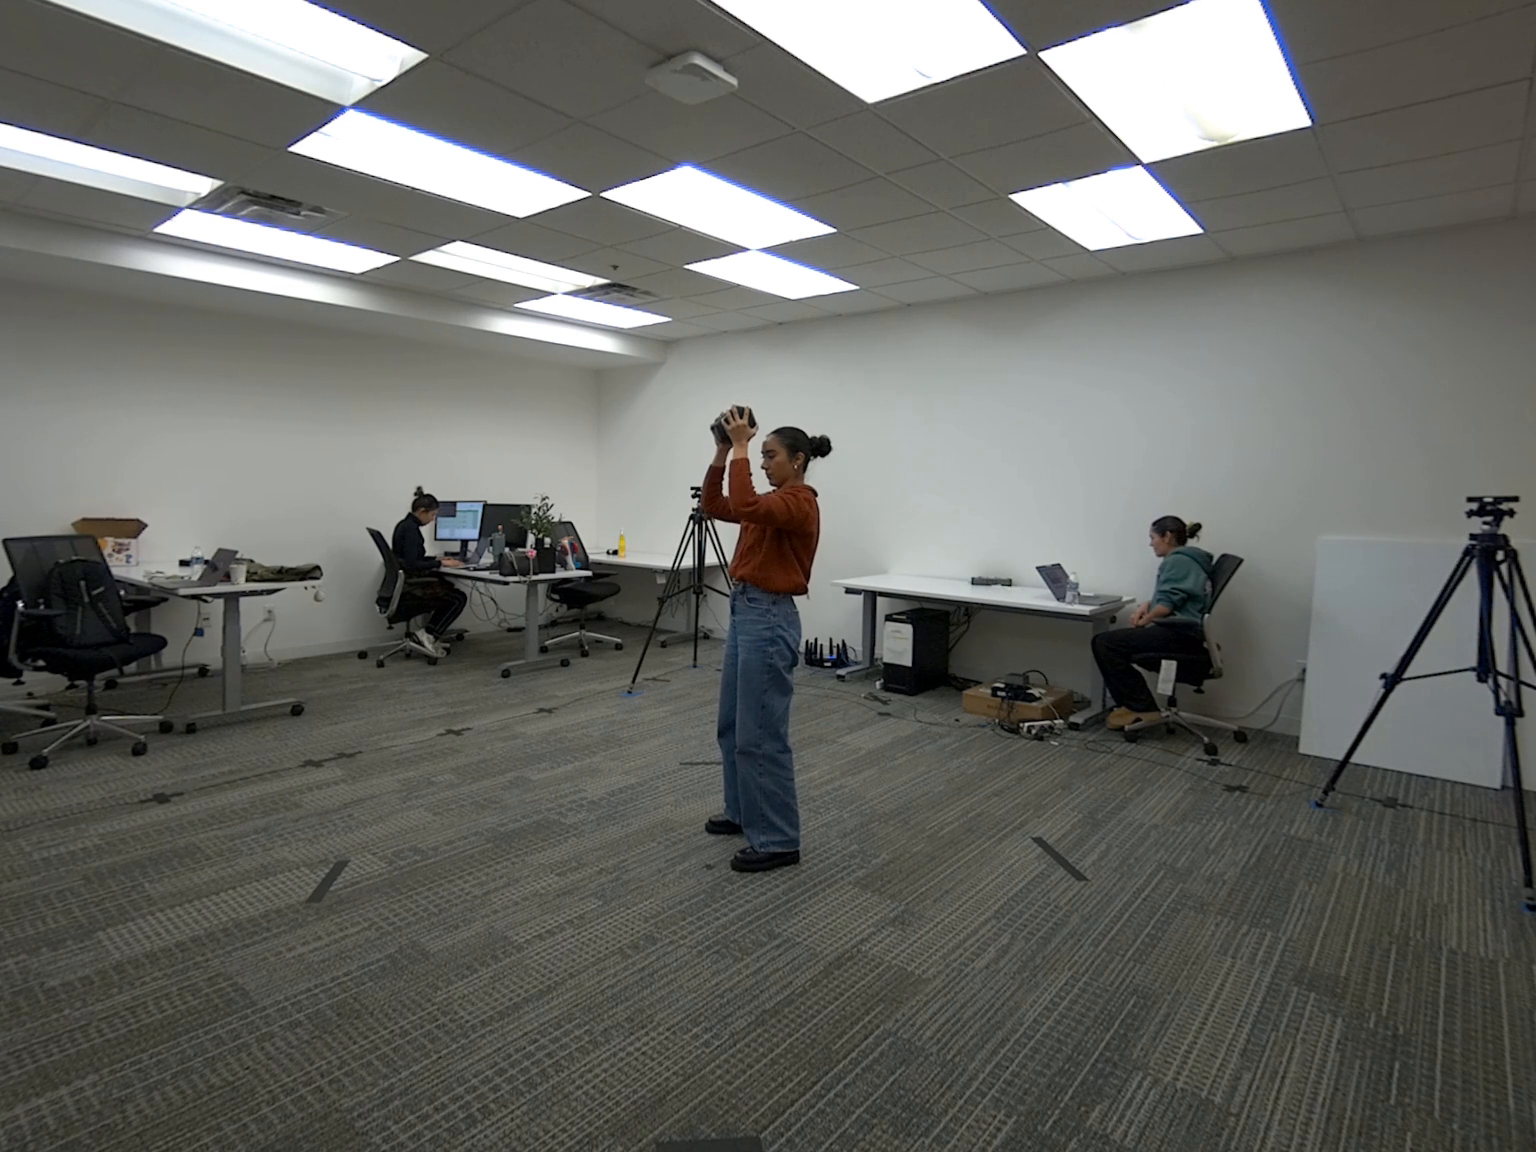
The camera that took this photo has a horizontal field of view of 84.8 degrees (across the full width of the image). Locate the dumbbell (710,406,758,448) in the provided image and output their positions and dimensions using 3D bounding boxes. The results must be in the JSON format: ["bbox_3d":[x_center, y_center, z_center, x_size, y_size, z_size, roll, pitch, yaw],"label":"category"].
[{"bbox_3d":[-0.138,-0.579,3.229,0.107,0.123,0.298,43,-6,-12],"label":"dumbbell"}]
